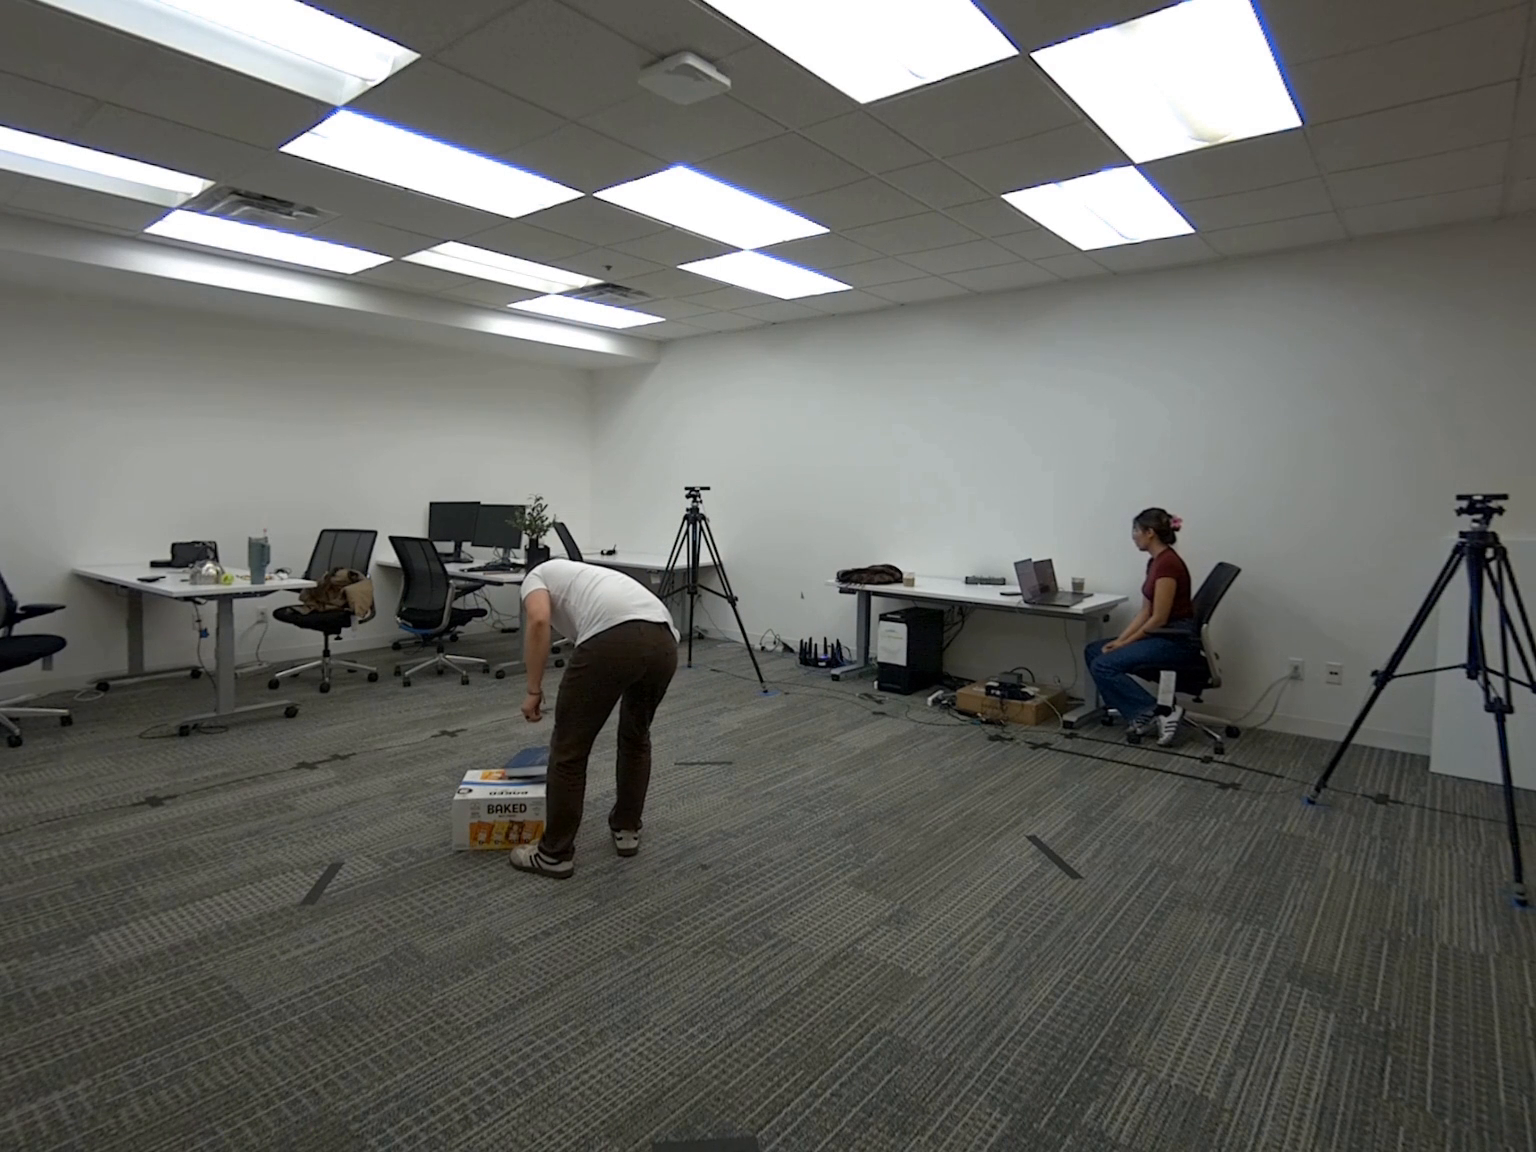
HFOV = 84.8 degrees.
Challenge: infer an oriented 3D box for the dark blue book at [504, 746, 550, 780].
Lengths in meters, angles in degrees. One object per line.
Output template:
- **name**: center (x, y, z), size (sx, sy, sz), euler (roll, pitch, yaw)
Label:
- **dark blue book**: center (-0.971, 0.762, 3.506), size (0.250, 0.044, 0.162), euler (-9, 15, 25)
